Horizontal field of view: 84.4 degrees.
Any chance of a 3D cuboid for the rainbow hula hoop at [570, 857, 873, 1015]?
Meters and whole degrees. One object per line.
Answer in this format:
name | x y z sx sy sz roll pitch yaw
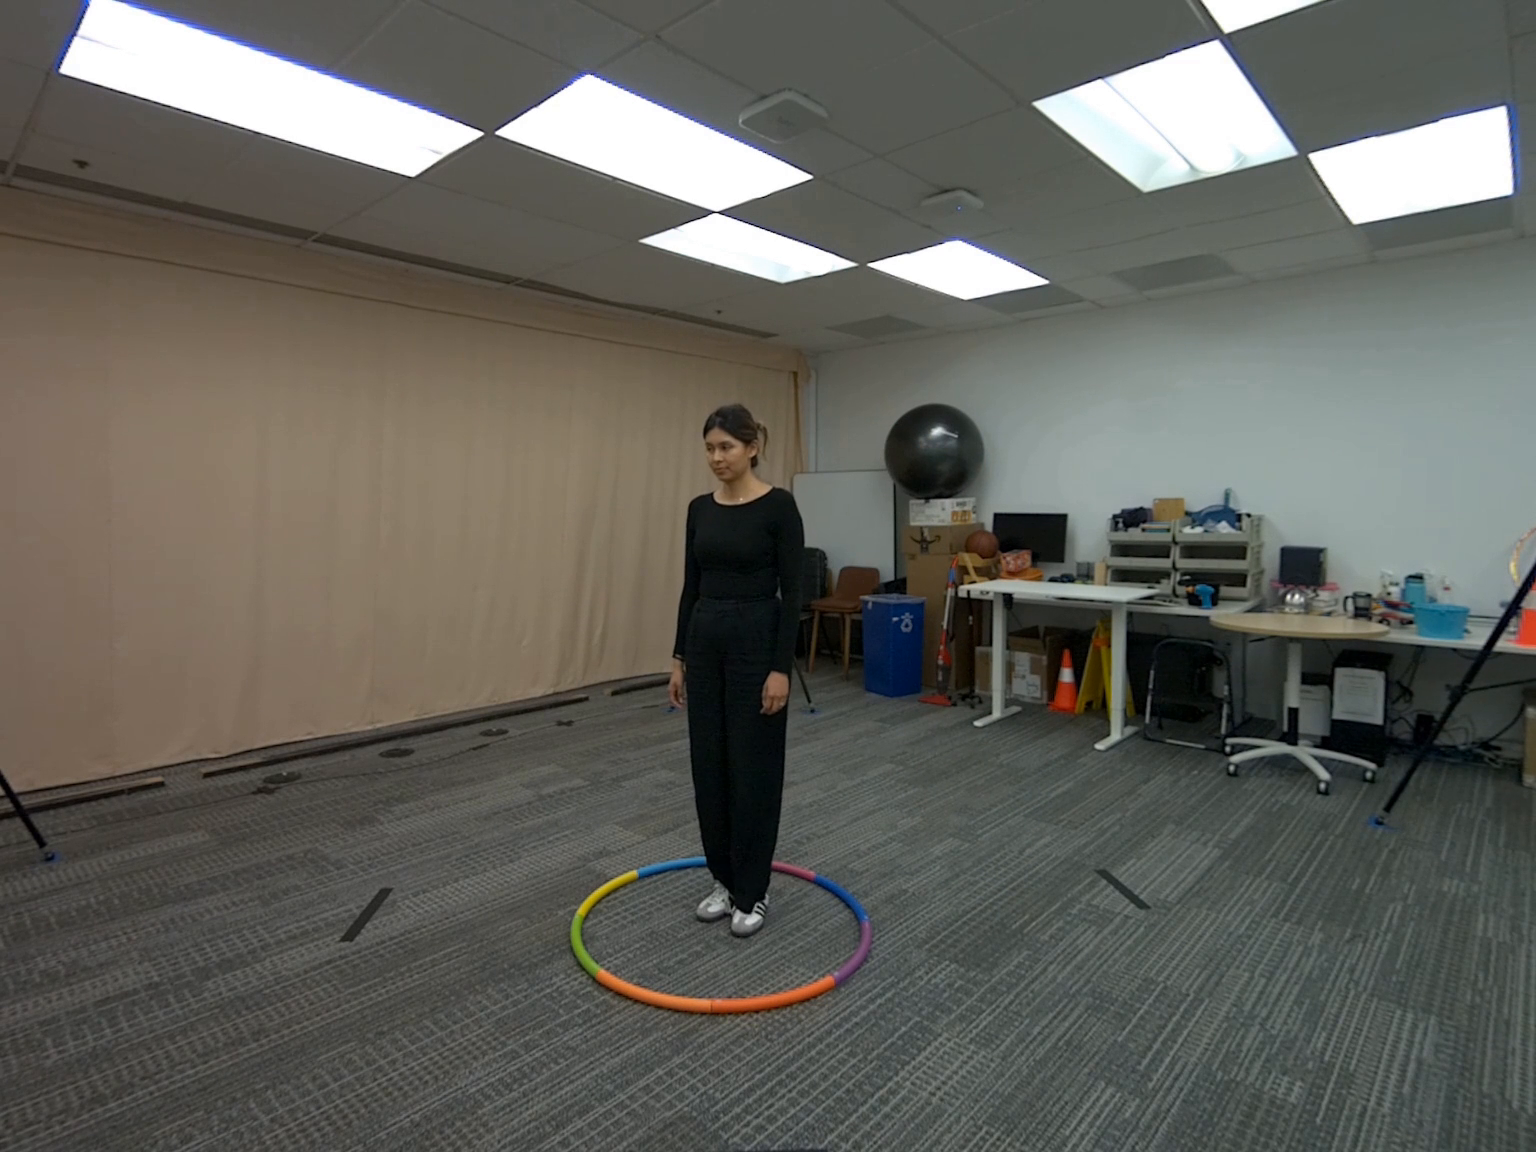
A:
rainbow hula hoop | -0.156 1.133 2.791 0.978 0.035 0.982 0 5 -2
